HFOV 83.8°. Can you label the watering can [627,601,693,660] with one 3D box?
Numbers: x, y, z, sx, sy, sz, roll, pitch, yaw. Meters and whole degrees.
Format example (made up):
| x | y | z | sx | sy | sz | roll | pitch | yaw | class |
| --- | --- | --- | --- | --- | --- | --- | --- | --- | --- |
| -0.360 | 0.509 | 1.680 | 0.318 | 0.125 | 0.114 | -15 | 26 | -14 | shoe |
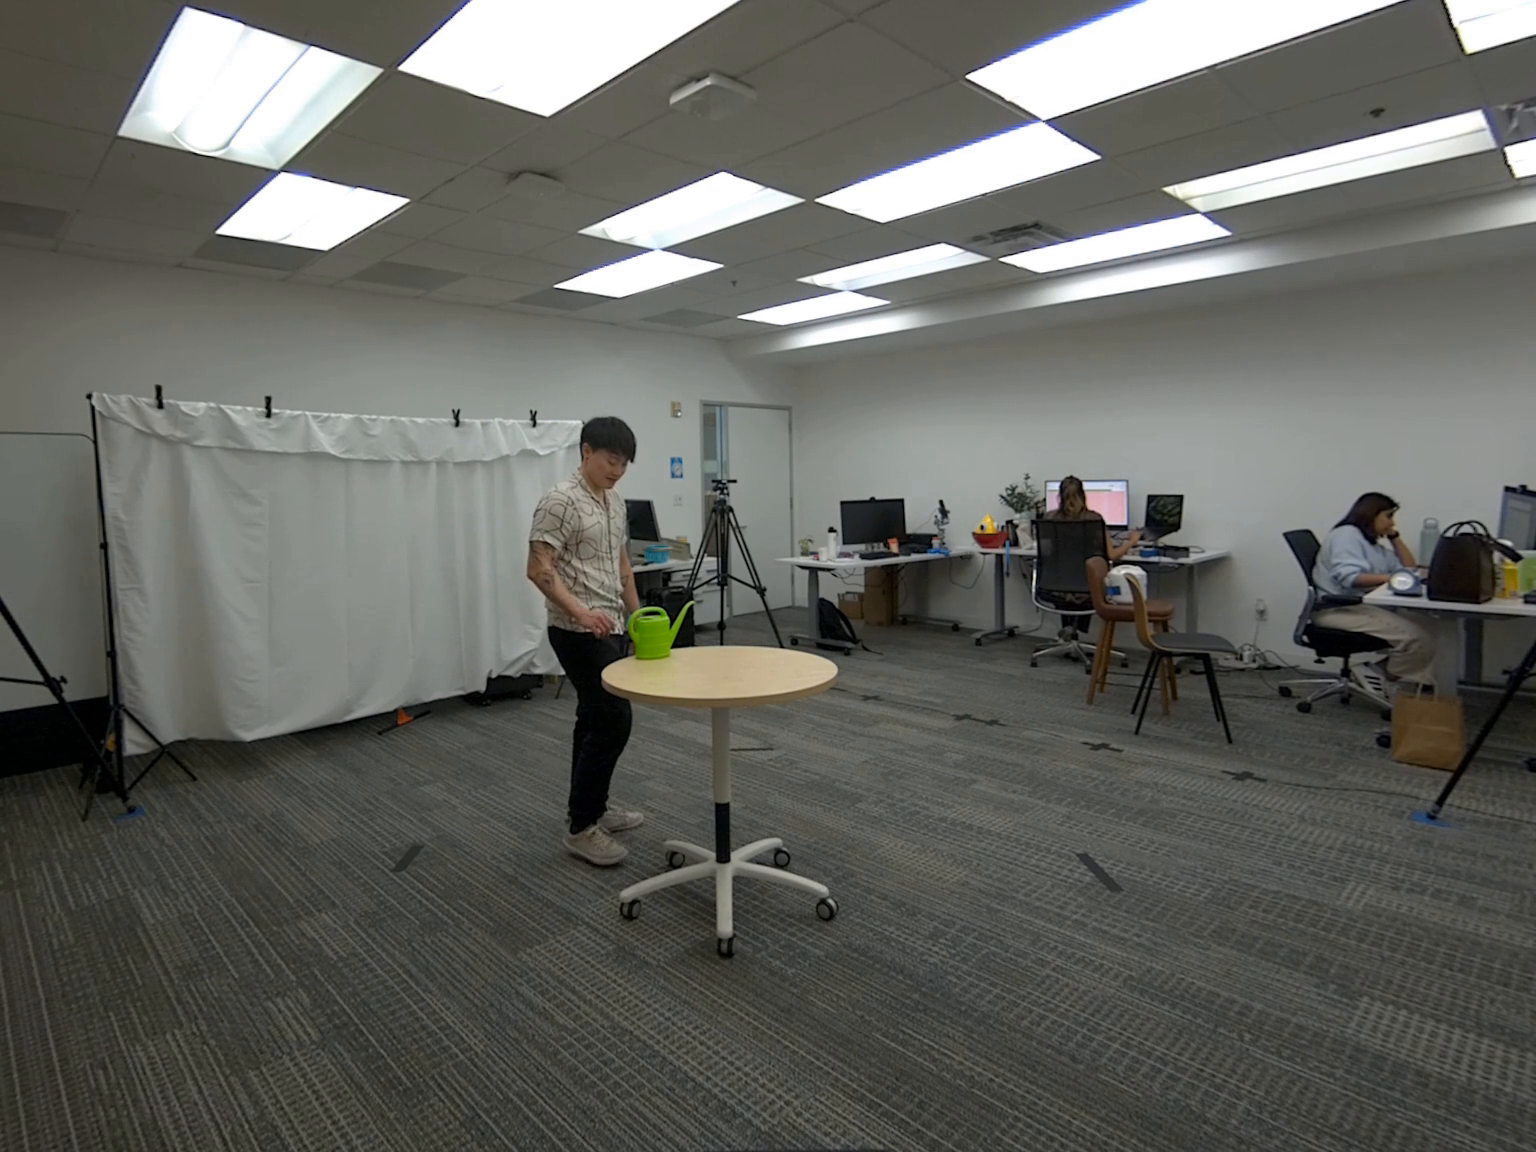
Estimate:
| x | y | z | sx | sy | sz | roll | pitch | yaw | class |
| --- | --- | --- | --- | --- | --- | --- | --- | --- | --- |
| -0.361 | 0.194 | 3.007 | 0.272 | 0.175 | 0.101 | -5 | 9 | -25 | watering can |
